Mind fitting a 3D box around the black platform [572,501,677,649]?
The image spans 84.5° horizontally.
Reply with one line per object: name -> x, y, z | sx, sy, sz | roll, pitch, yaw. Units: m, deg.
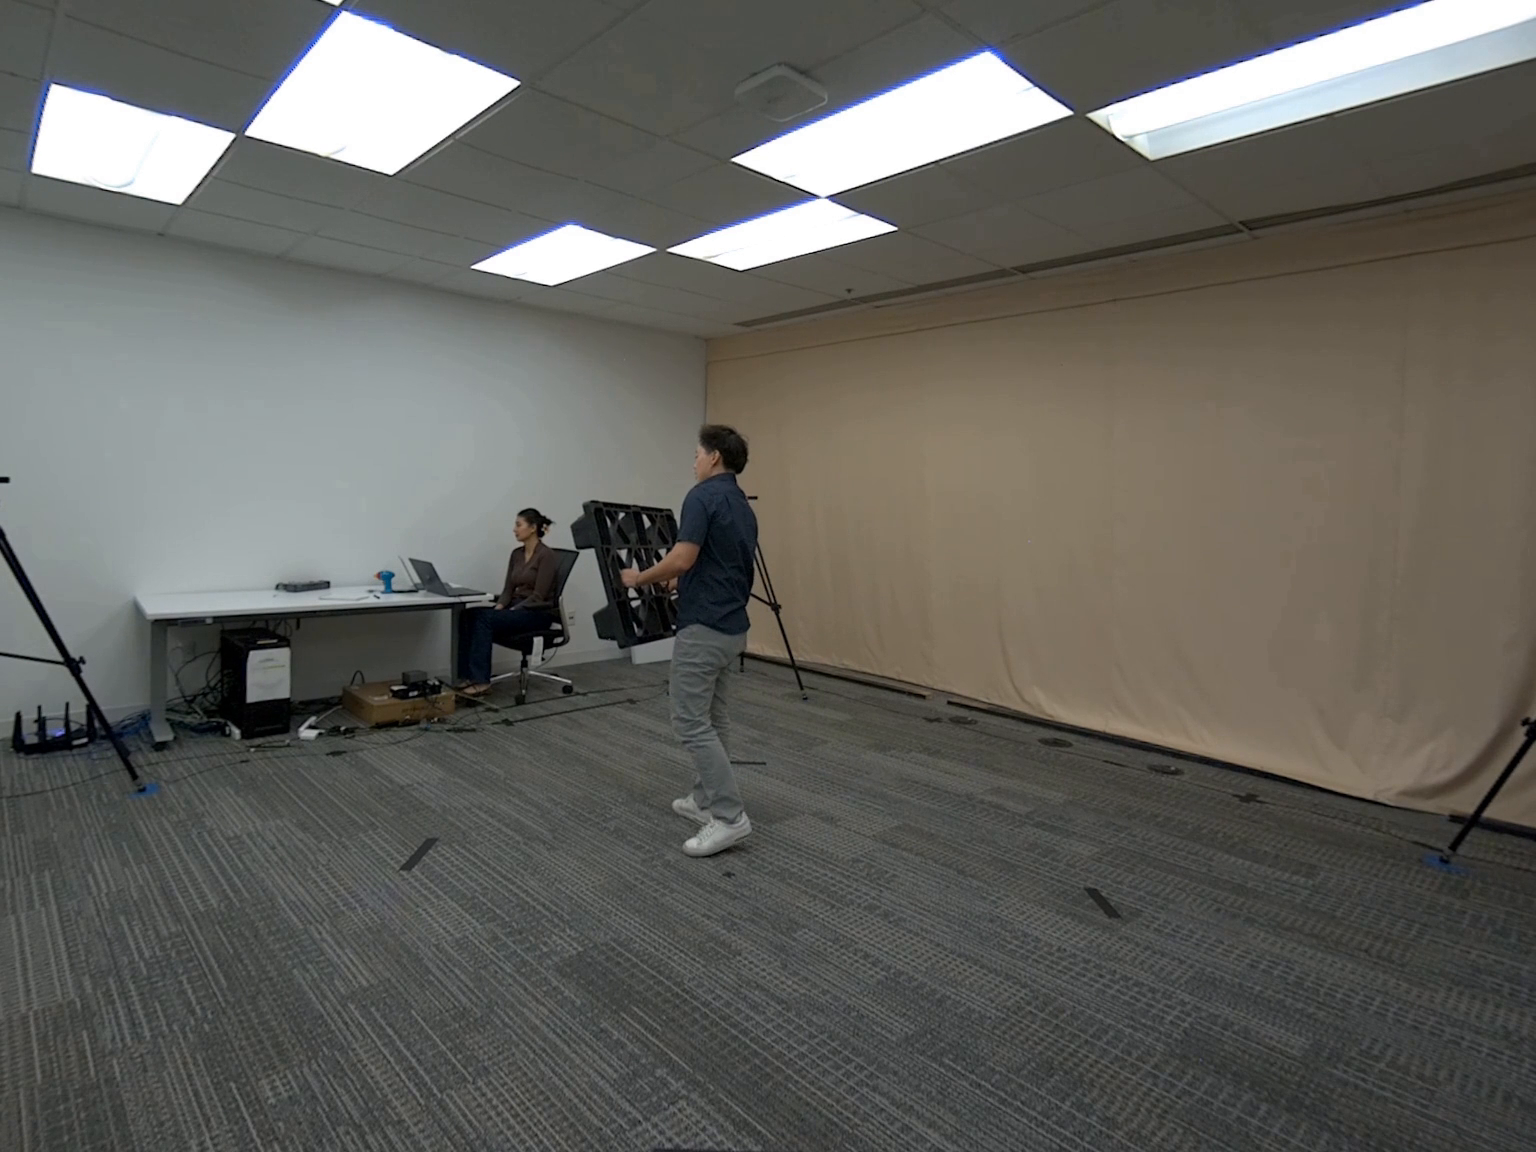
black platform -> -0.567, -0.009, 3.664 | 0.144, 0.608, 0.794 | -18, -5, 17
